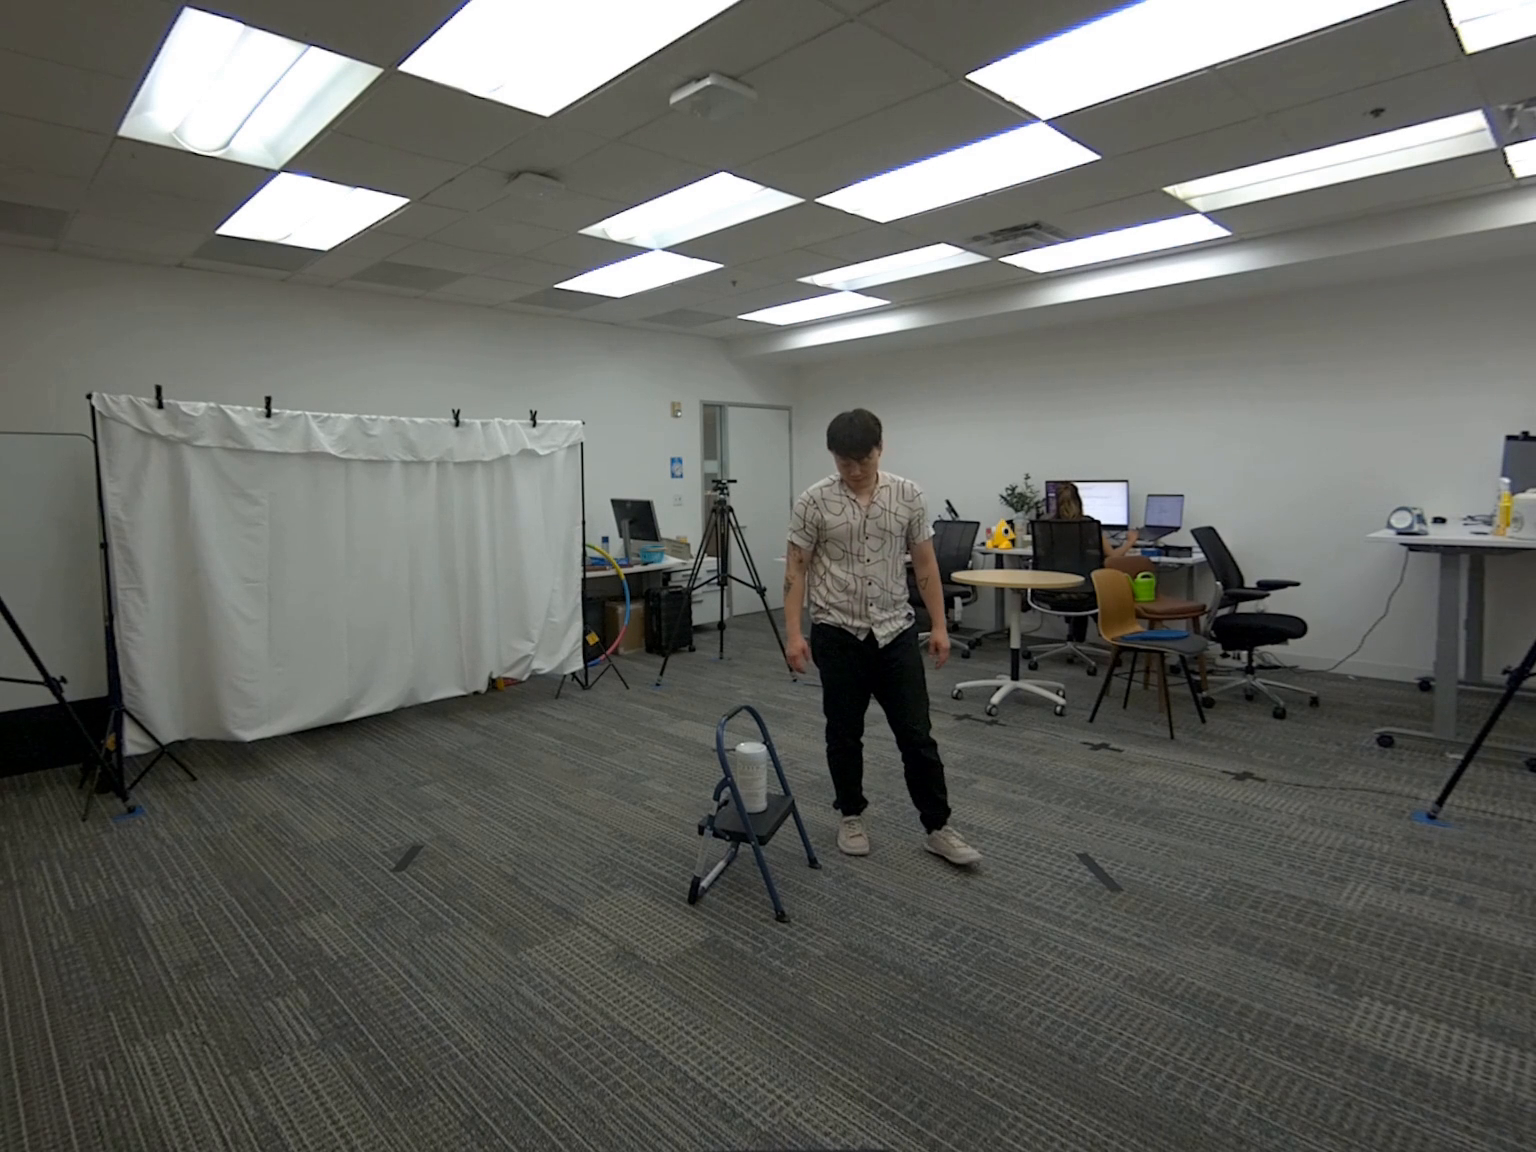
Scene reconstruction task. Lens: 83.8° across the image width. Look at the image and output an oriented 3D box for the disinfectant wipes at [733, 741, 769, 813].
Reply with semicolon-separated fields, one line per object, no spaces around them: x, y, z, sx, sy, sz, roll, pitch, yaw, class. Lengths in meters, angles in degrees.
-0.055;0.702;2.953;0.118;0.216;0.119;0;8;-2;disinfectant wipes
